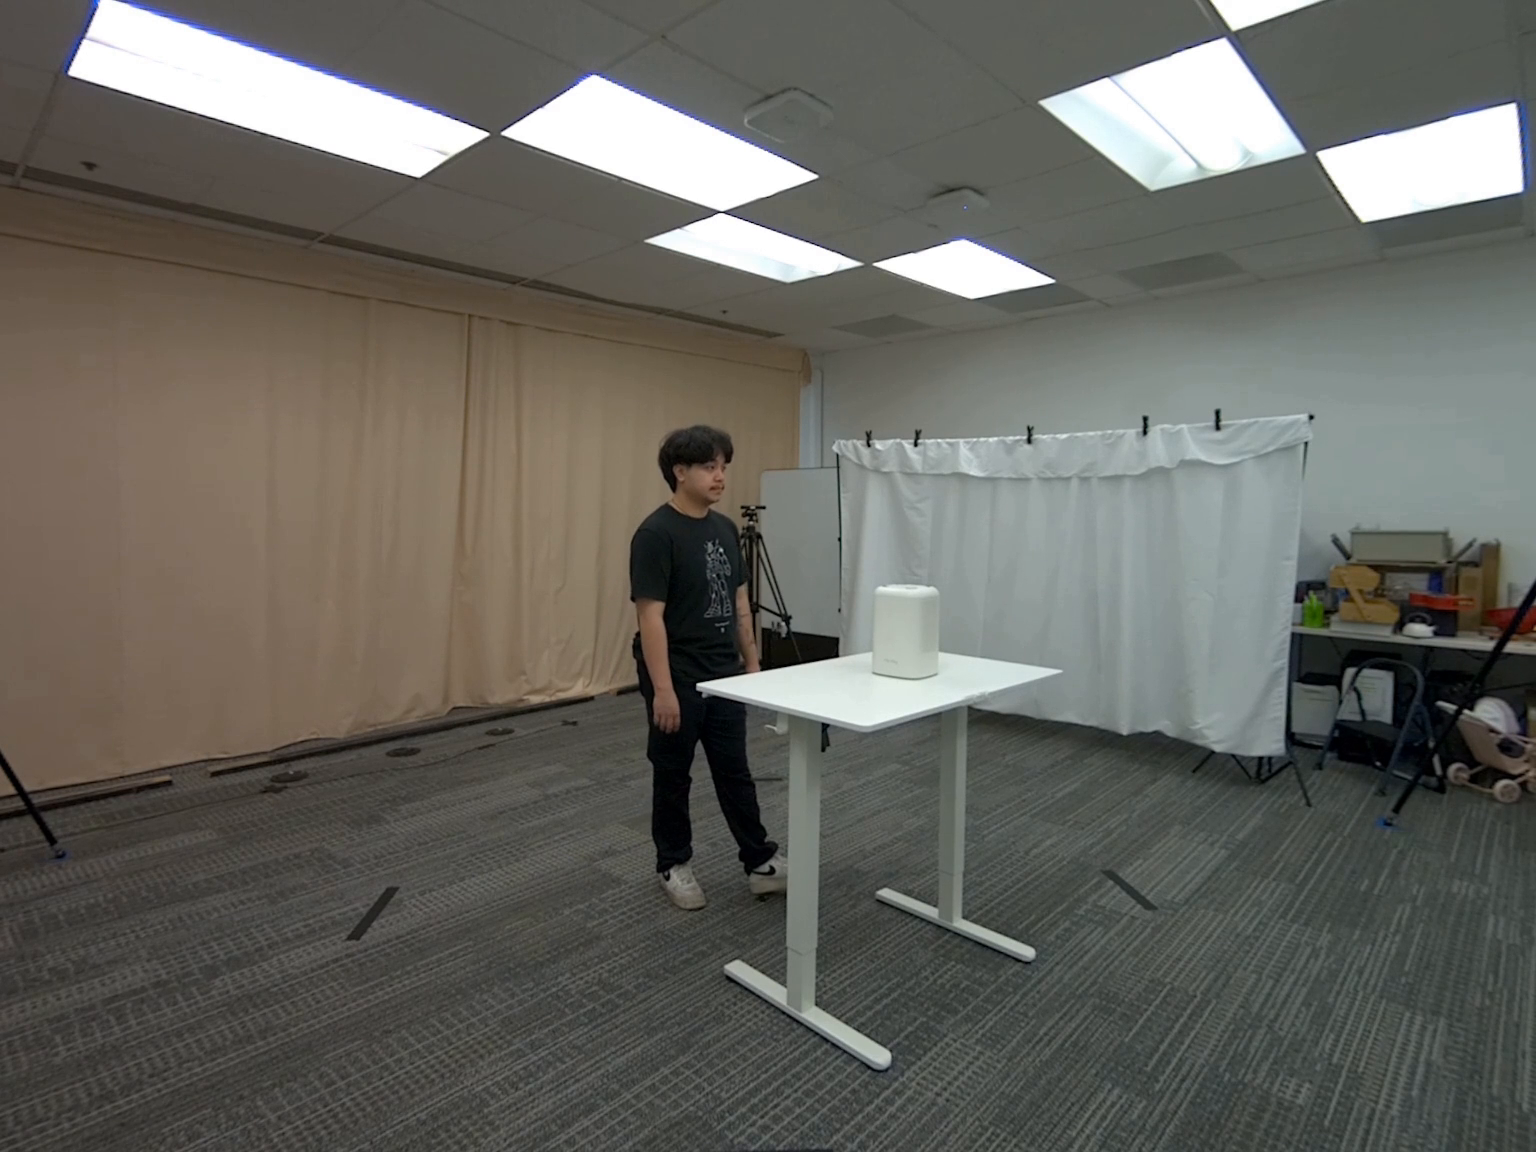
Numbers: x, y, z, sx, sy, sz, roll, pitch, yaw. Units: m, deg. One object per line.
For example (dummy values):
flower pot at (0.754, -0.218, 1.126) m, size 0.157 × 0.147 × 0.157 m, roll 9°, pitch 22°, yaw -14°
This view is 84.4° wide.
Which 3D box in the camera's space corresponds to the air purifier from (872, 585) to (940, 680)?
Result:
air purifier at (0.423, 0.164, 2.542) m, size 0.177 × 0.265 × 0.166 m, roll 4°, pitch 5°, yaw 41°
